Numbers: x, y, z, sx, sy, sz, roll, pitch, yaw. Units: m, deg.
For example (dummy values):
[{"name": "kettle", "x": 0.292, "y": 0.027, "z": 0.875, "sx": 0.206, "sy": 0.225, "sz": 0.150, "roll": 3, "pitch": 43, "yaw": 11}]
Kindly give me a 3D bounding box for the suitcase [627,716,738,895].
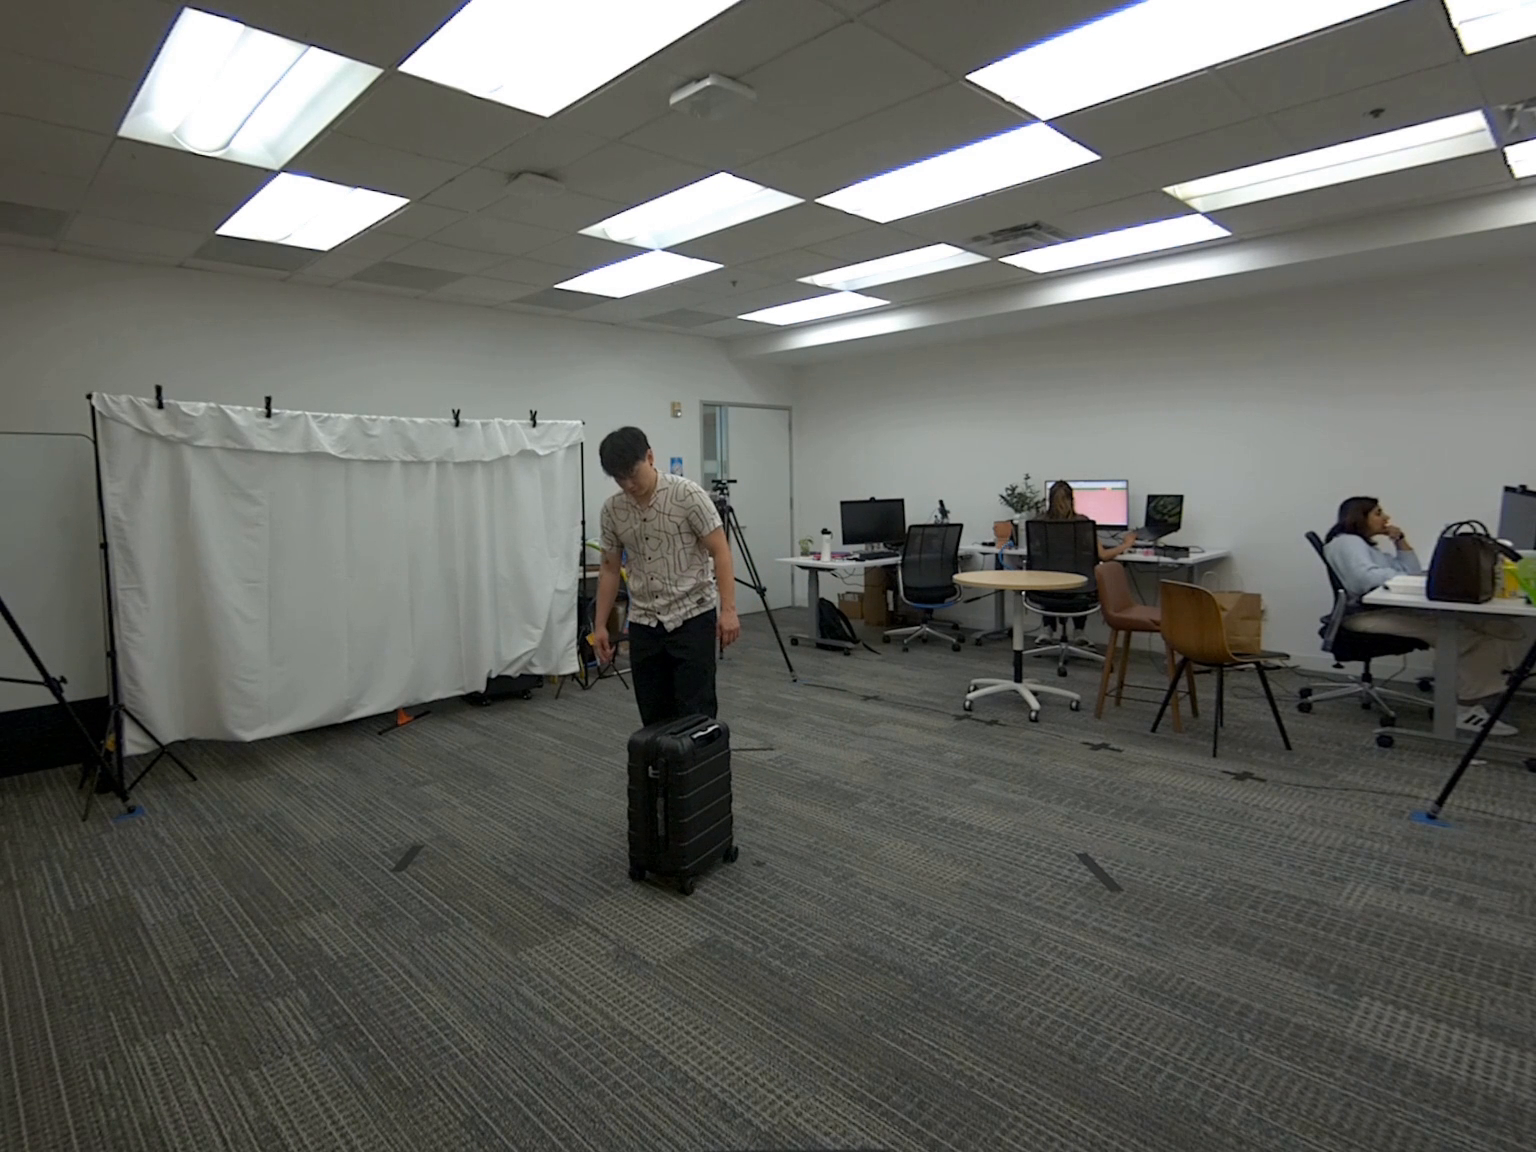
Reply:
[{"name": "suitcase", "x": -0.301, "y": 0.787, "z": 3.032, "sx": 0.254, "sy": 0.547, "sz": 0.368, "roll": 1, "pitch": 6, "yaw": 27}]
